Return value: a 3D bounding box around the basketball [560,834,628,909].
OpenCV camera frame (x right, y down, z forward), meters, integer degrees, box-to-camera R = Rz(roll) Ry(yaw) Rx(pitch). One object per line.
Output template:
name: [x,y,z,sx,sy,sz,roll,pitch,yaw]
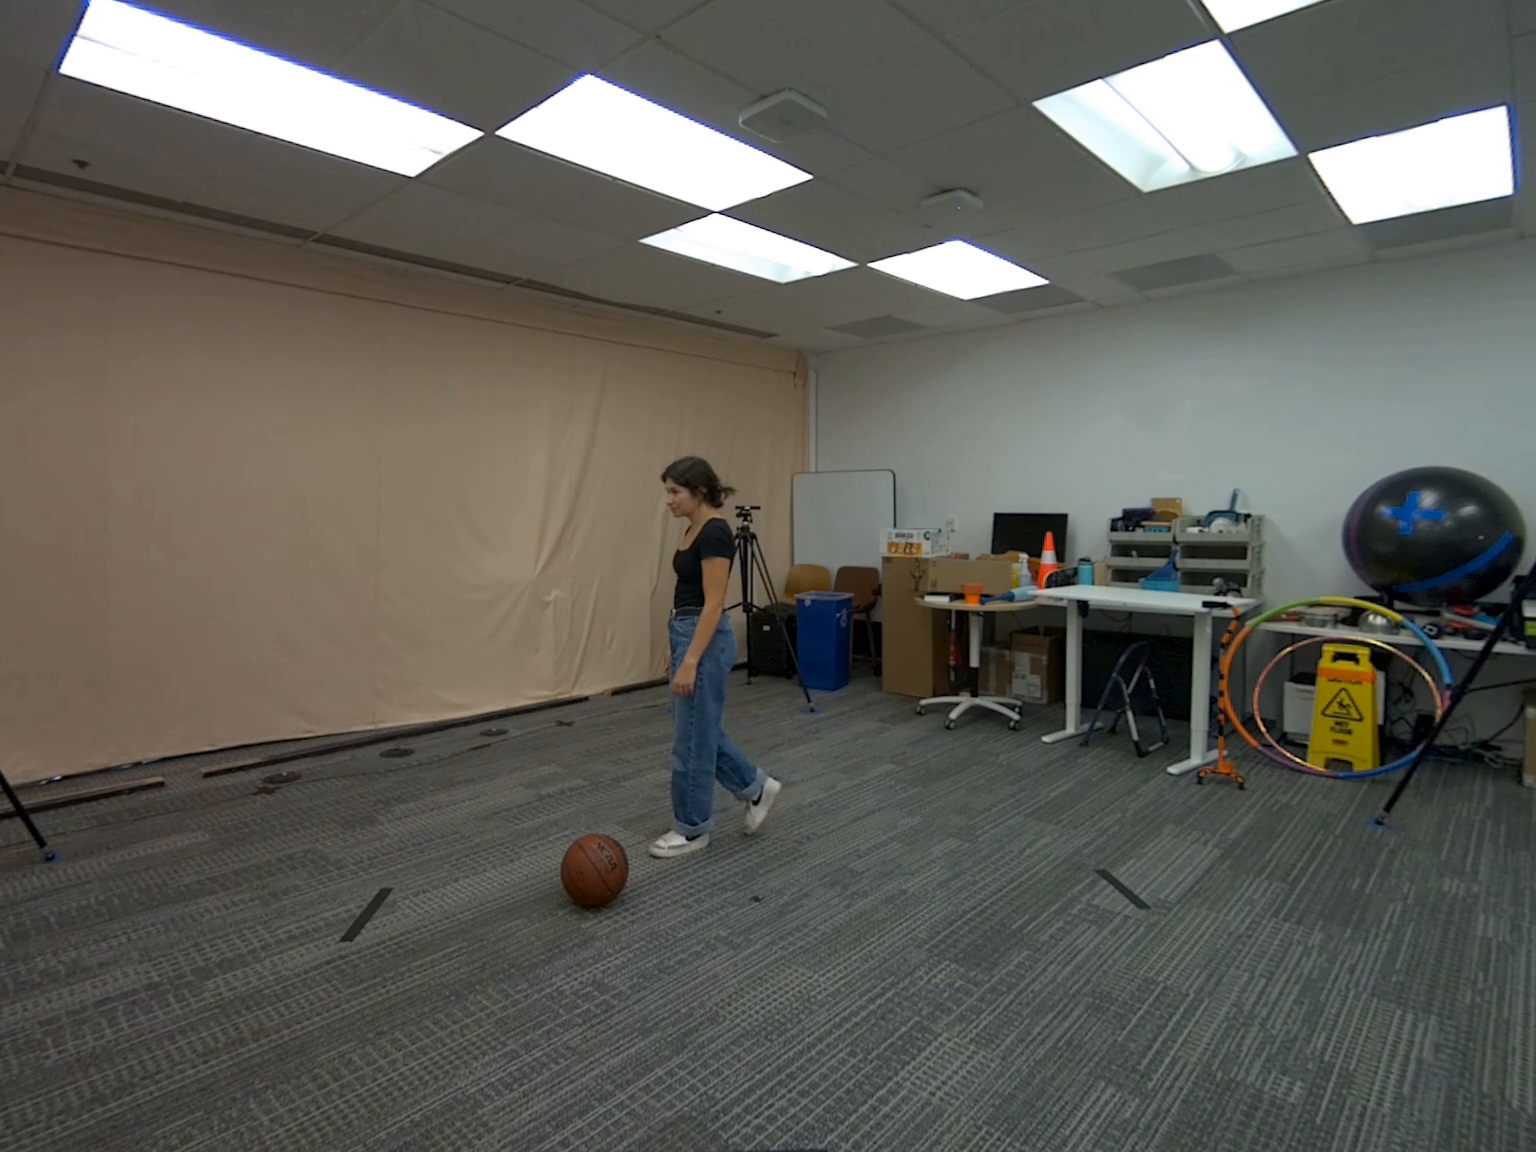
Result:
basketball: [-0.610,1.031,2.956,0.236,0.235,0.237,0,4,-2]
